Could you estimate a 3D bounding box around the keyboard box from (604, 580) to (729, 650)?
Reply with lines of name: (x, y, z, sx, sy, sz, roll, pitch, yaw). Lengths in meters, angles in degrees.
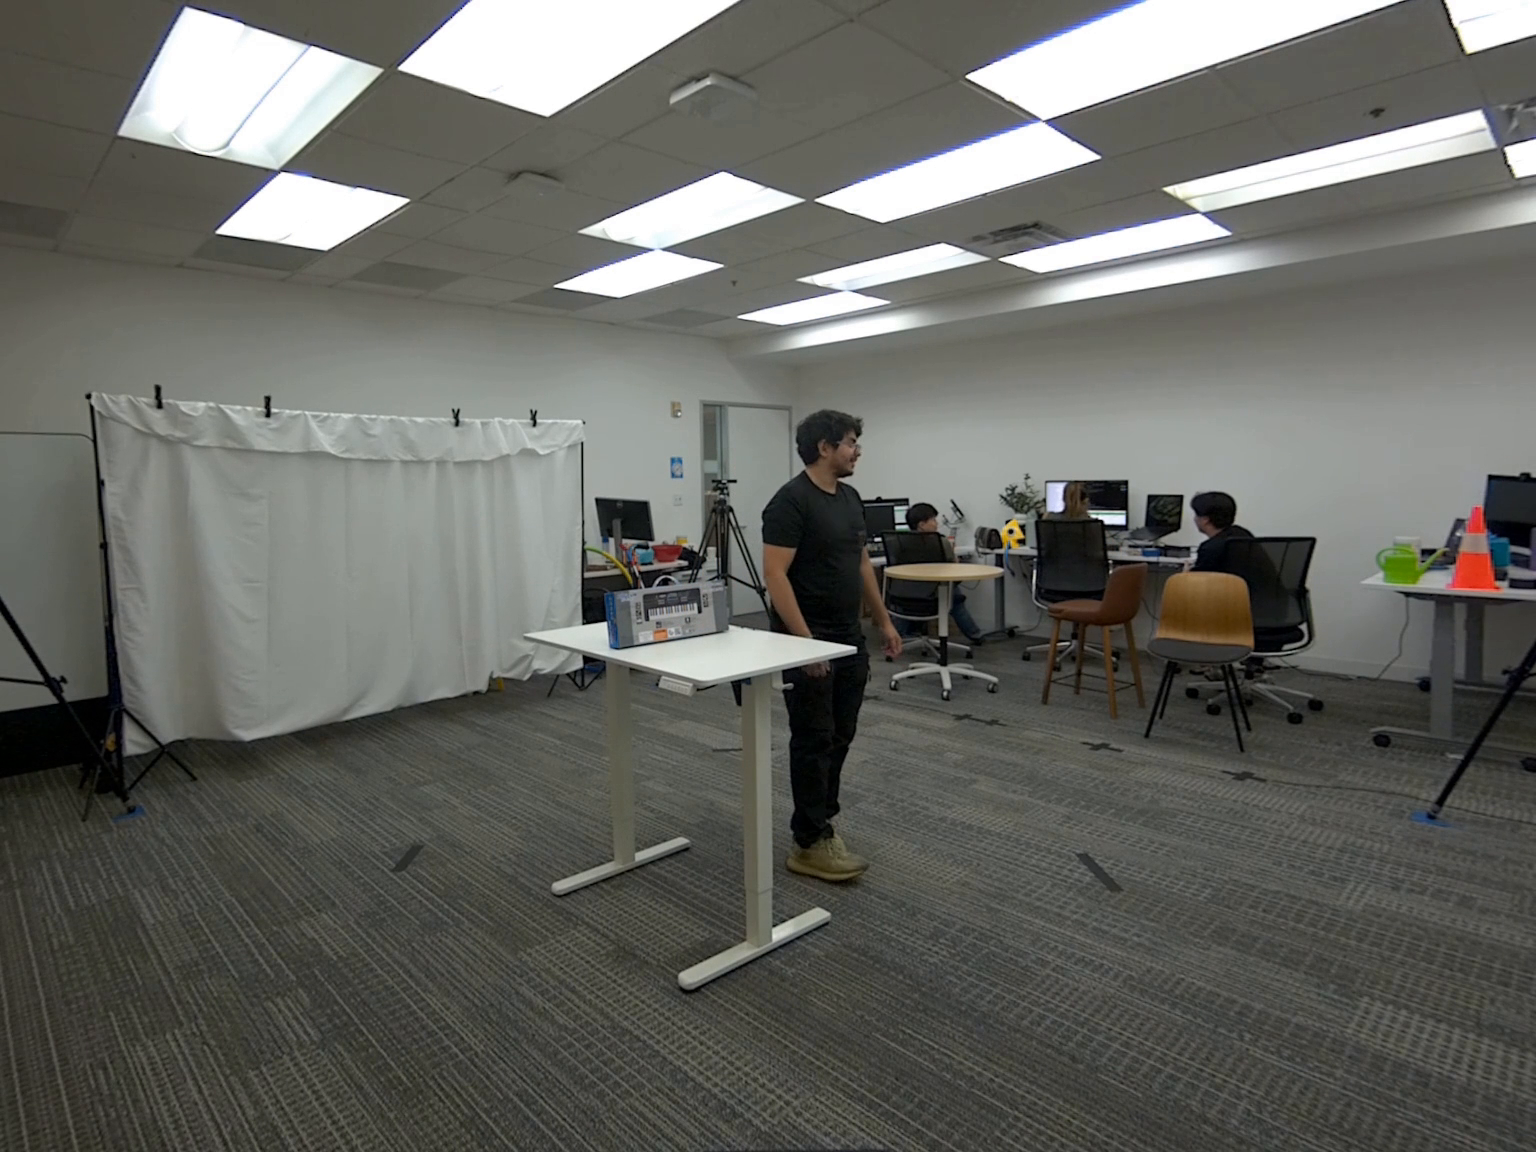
keyboard box: (-0.321, 0.121, 2.778, 0.426, 0.176, 0.060, -6, -1, -39)
